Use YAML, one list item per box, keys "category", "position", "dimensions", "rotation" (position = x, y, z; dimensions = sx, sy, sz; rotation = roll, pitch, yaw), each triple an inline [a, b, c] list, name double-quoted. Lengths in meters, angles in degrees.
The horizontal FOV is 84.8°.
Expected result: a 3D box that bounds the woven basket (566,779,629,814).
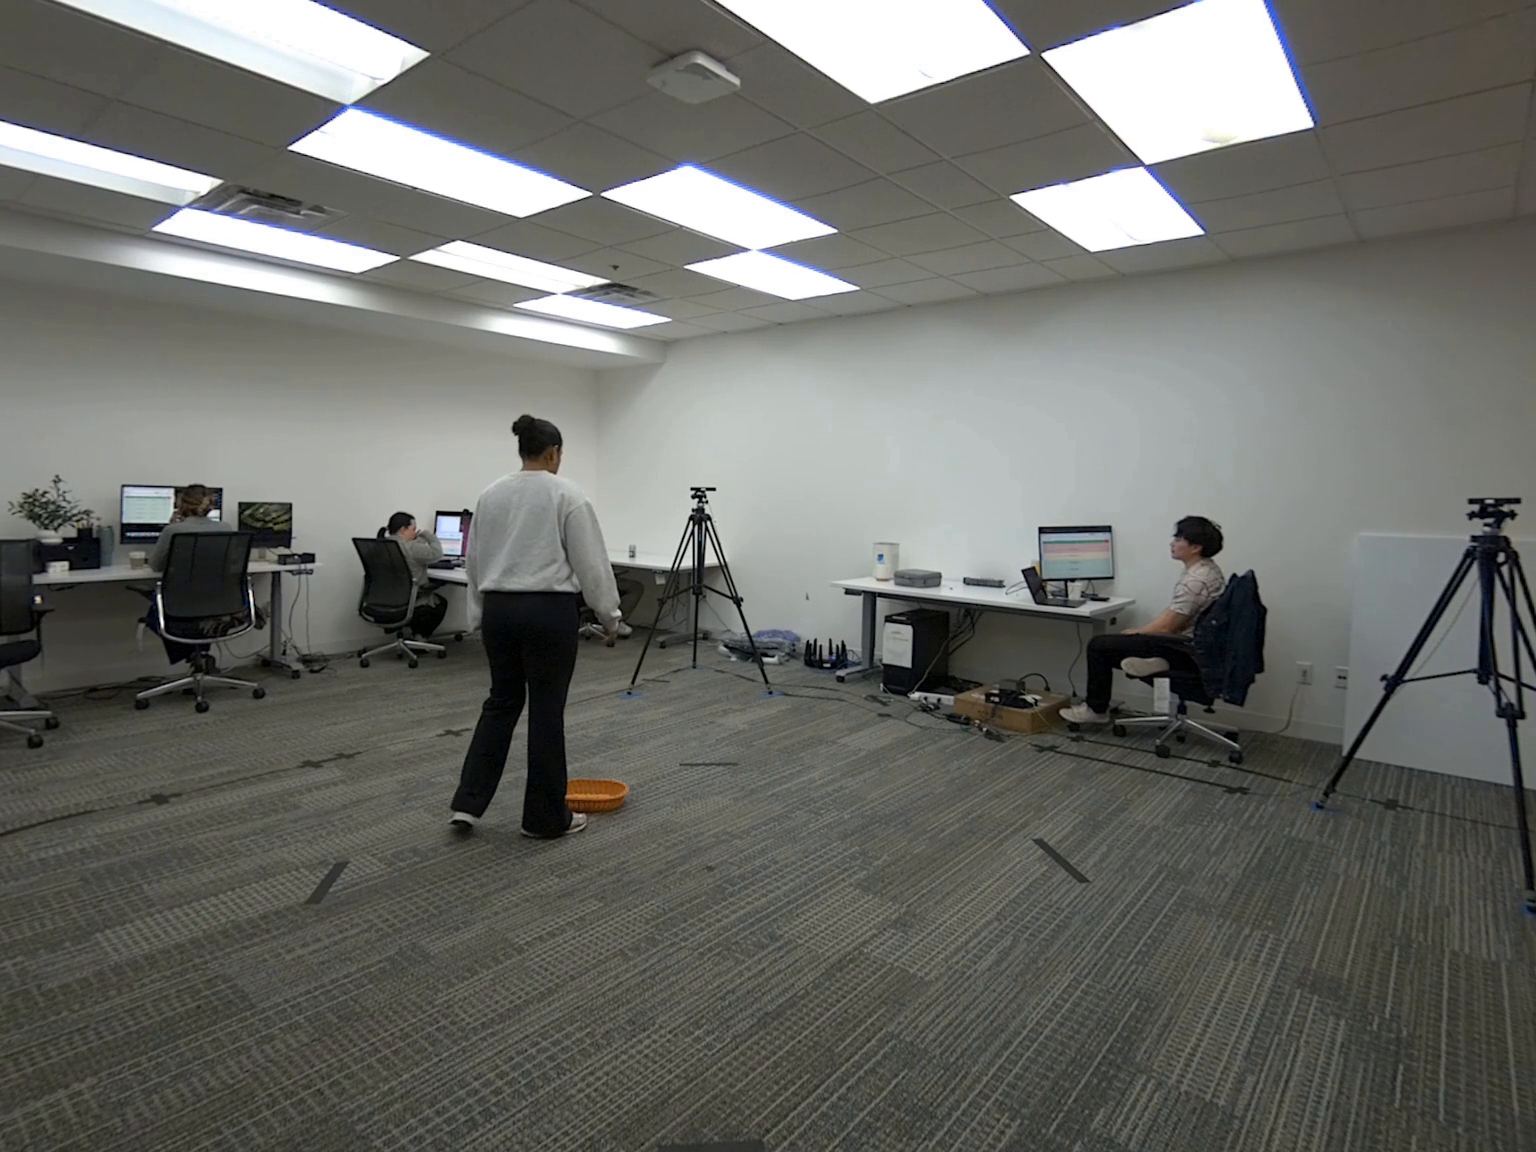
- category: "woven basket"
  position: [-0.793, 0.957, 3.721]
  dimensions: [0.352, 0.073, 0.252]
  rotation: [1, 6, 3]
